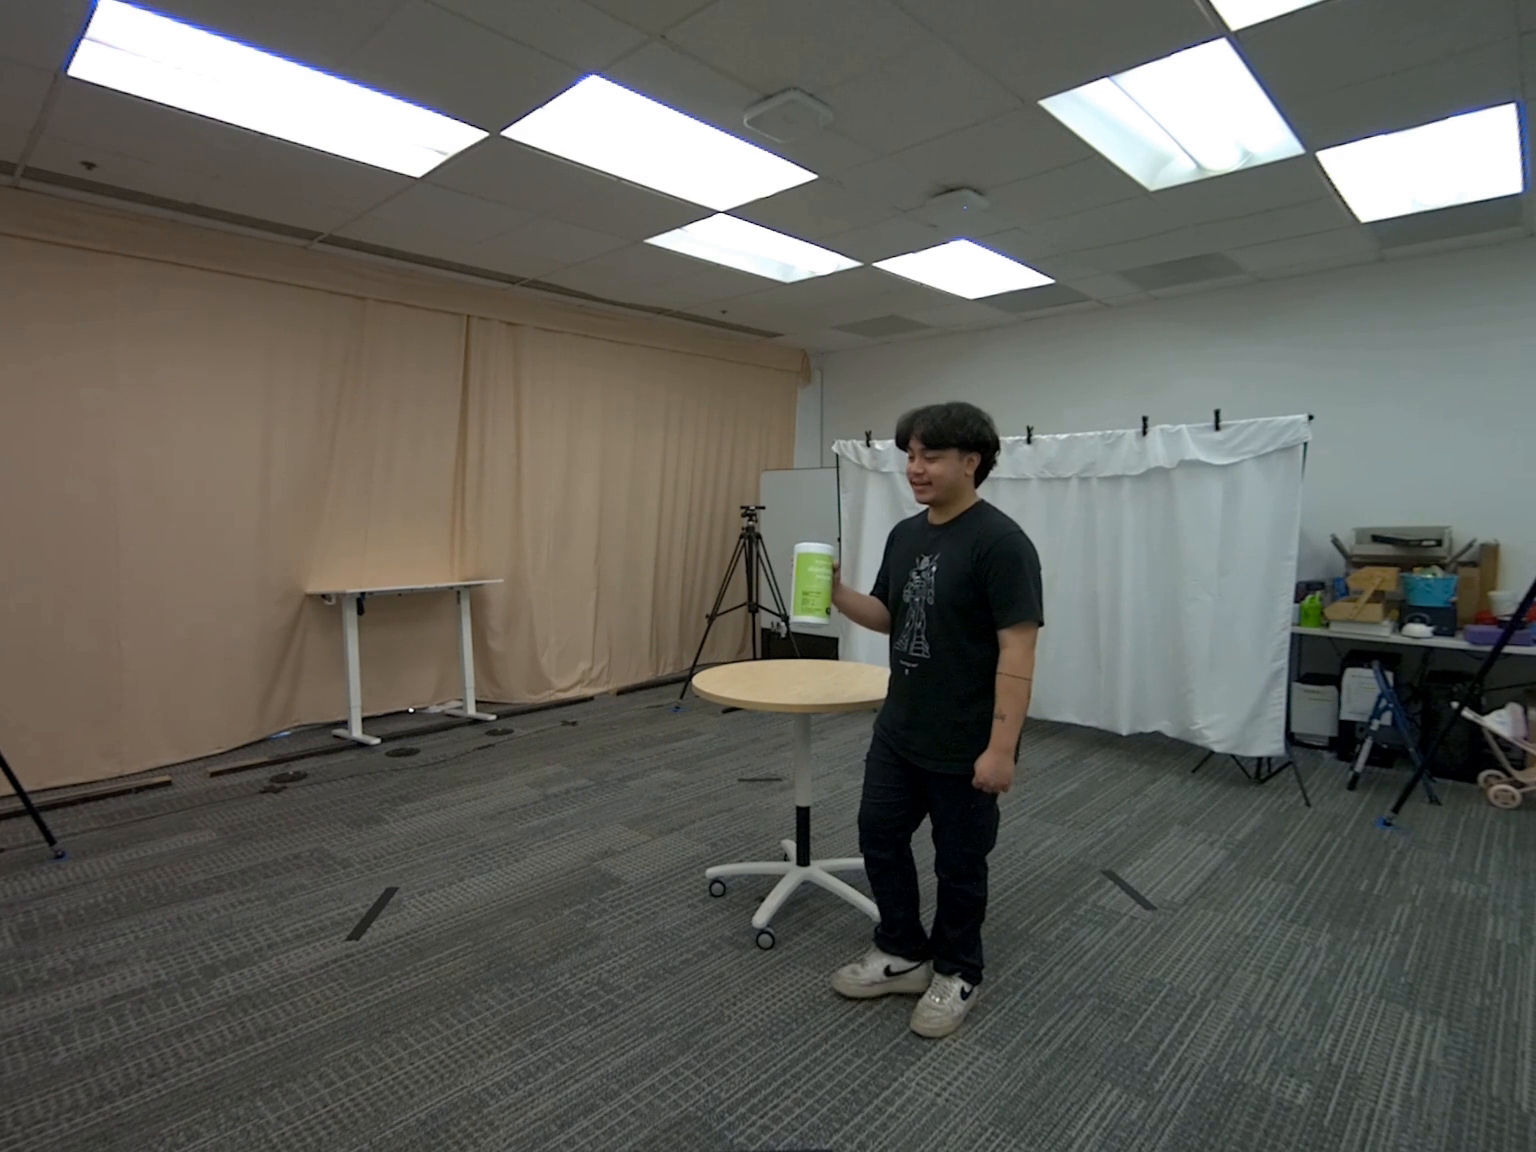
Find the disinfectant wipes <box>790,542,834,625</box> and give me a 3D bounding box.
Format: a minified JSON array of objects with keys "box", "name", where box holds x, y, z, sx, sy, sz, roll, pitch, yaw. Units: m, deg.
[{"box":[0.117,0.027,2.253,0.118,0.219,0.117,1,-9,-2],"name":"disinfectant wipes"}]
